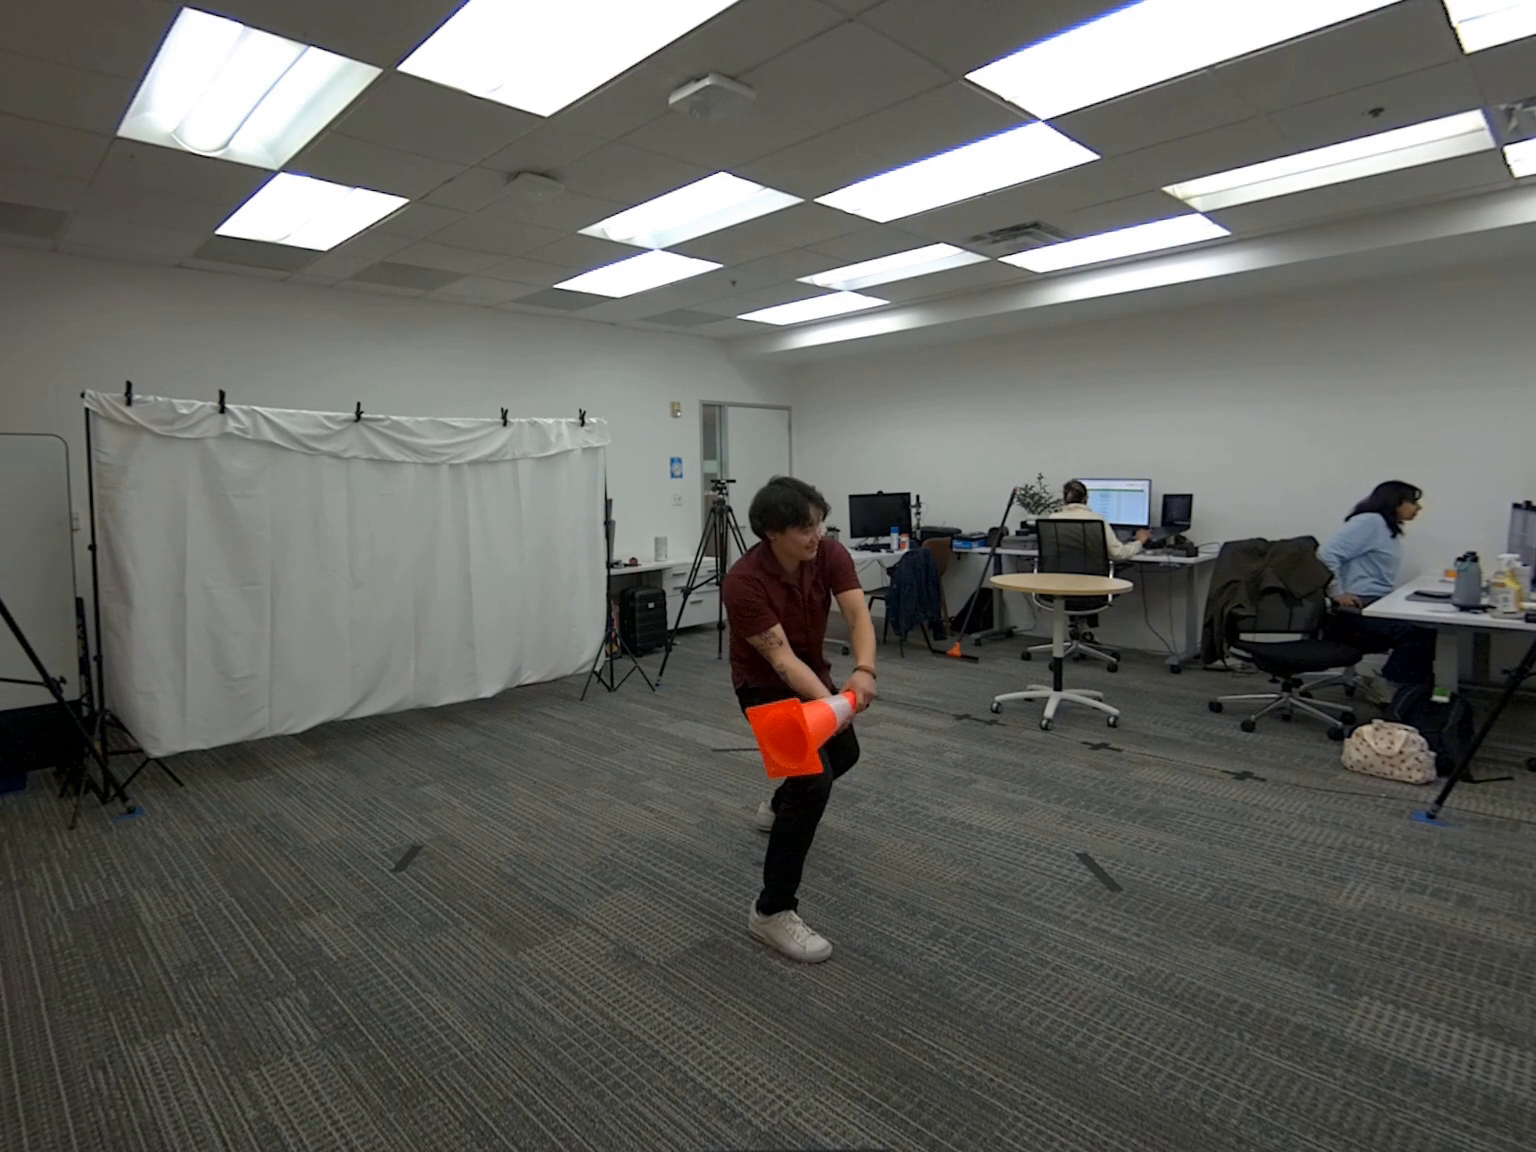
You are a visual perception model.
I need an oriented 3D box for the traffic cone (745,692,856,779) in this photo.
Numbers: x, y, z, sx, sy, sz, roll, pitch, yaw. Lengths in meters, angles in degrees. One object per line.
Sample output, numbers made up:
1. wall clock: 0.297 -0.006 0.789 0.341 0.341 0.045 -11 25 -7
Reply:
1. traffic cone: 0.165 0.382 2.362 0.207 0.205 0.375 -19 -2 44
